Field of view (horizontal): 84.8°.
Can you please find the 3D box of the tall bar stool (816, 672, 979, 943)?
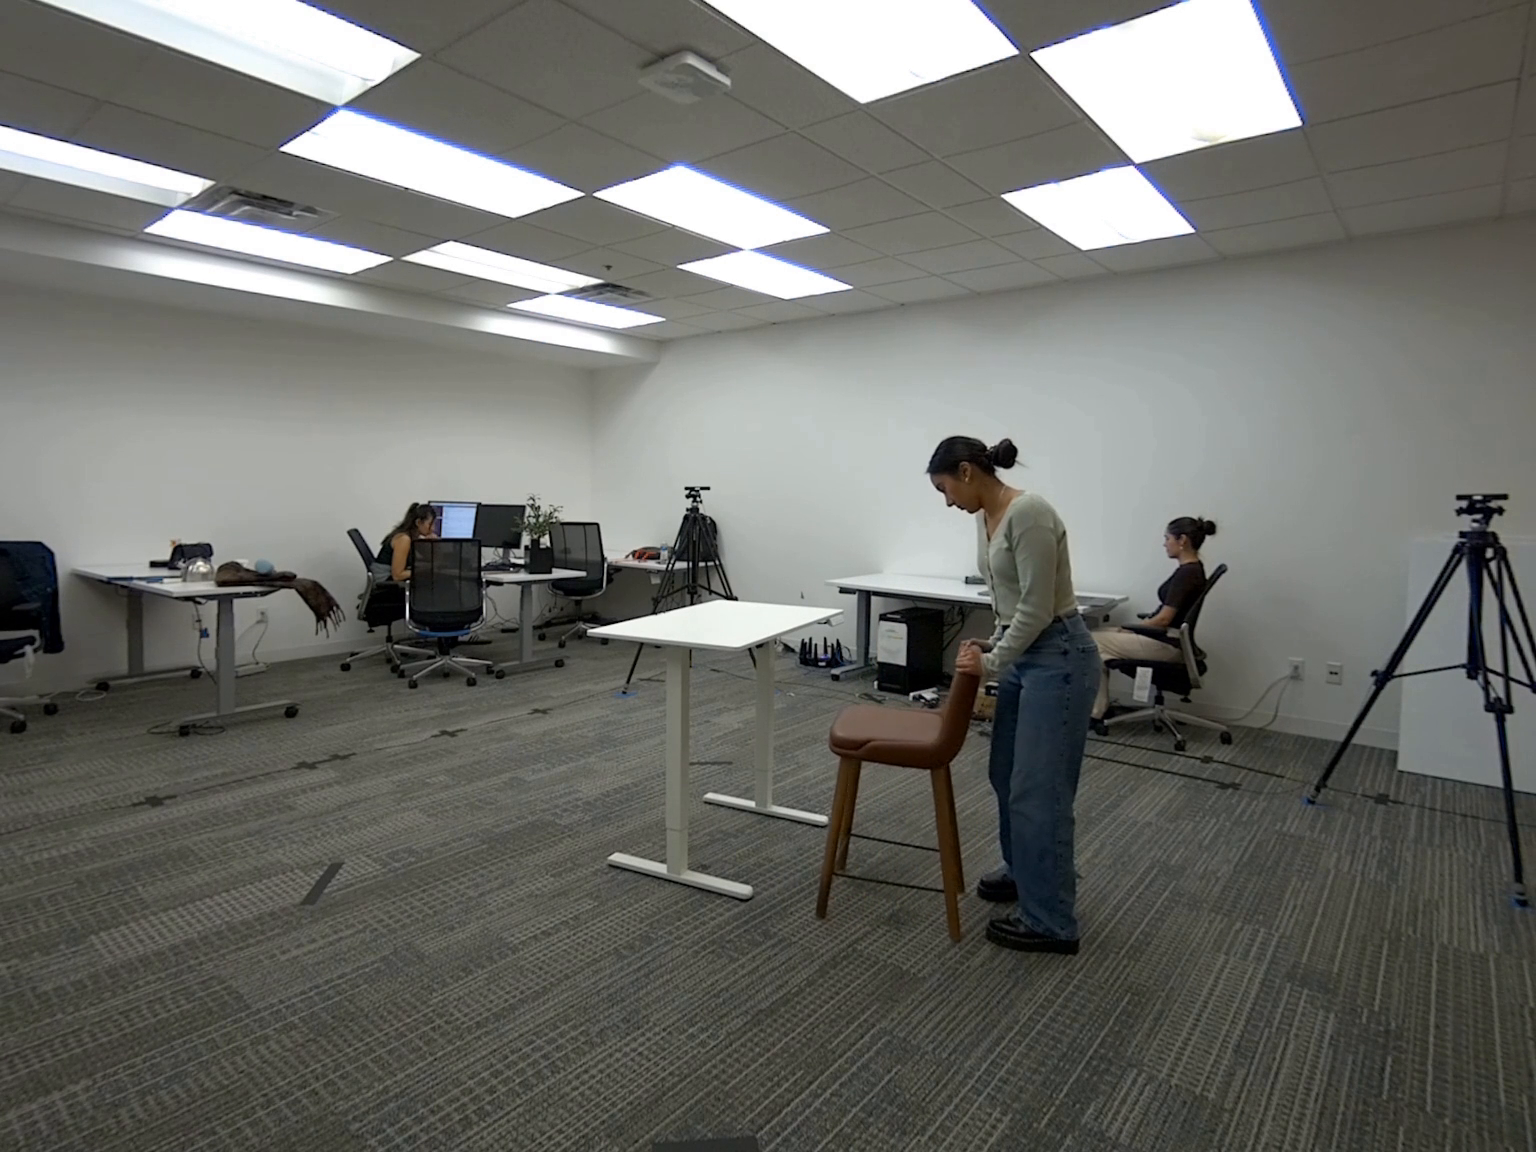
[{"bbox_3d":[0.440,0.664,2.853,0.477,0.887,0.449,5,4,17],"label":"tall bar stool"}]
